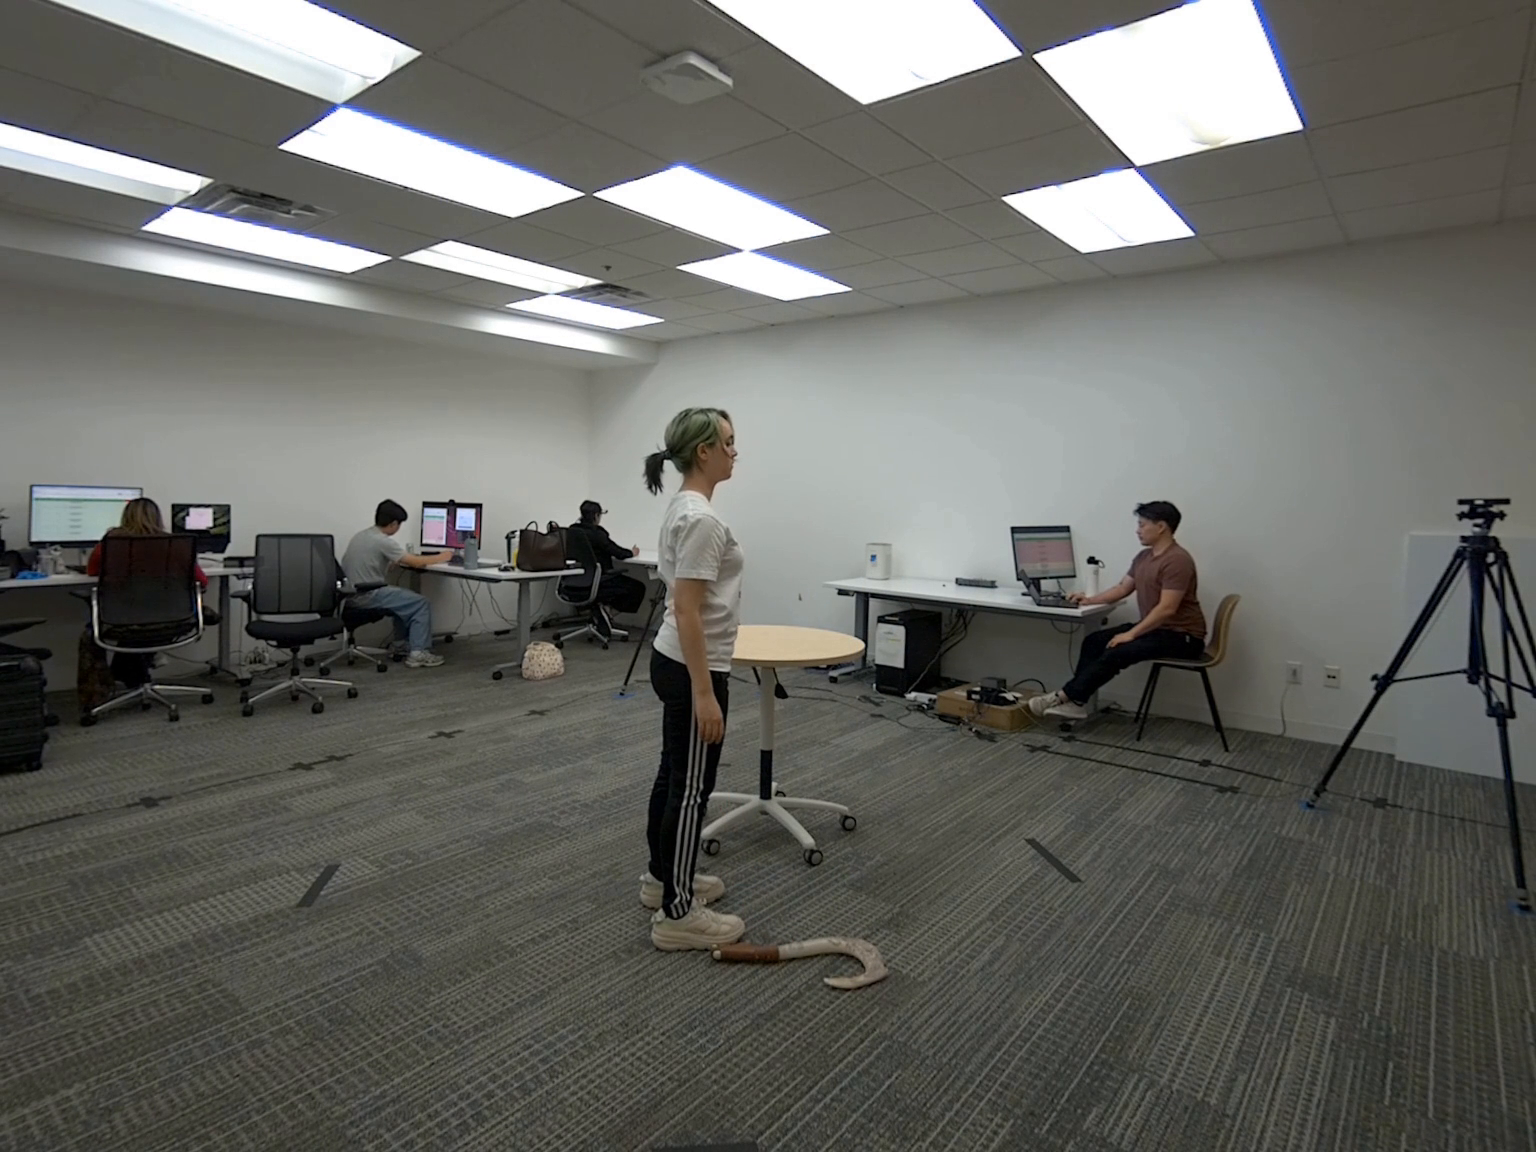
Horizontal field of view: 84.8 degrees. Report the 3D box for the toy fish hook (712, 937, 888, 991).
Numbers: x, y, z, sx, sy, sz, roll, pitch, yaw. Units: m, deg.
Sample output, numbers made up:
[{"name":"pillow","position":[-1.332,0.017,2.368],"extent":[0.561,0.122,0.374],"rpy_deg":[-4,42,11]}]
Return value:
[{"name":"toy fish hook","position":[0.086,1.121,2.461],"extent":[0.504,0.048,0.226],"rpy_deg":[0,4,-6]}]
